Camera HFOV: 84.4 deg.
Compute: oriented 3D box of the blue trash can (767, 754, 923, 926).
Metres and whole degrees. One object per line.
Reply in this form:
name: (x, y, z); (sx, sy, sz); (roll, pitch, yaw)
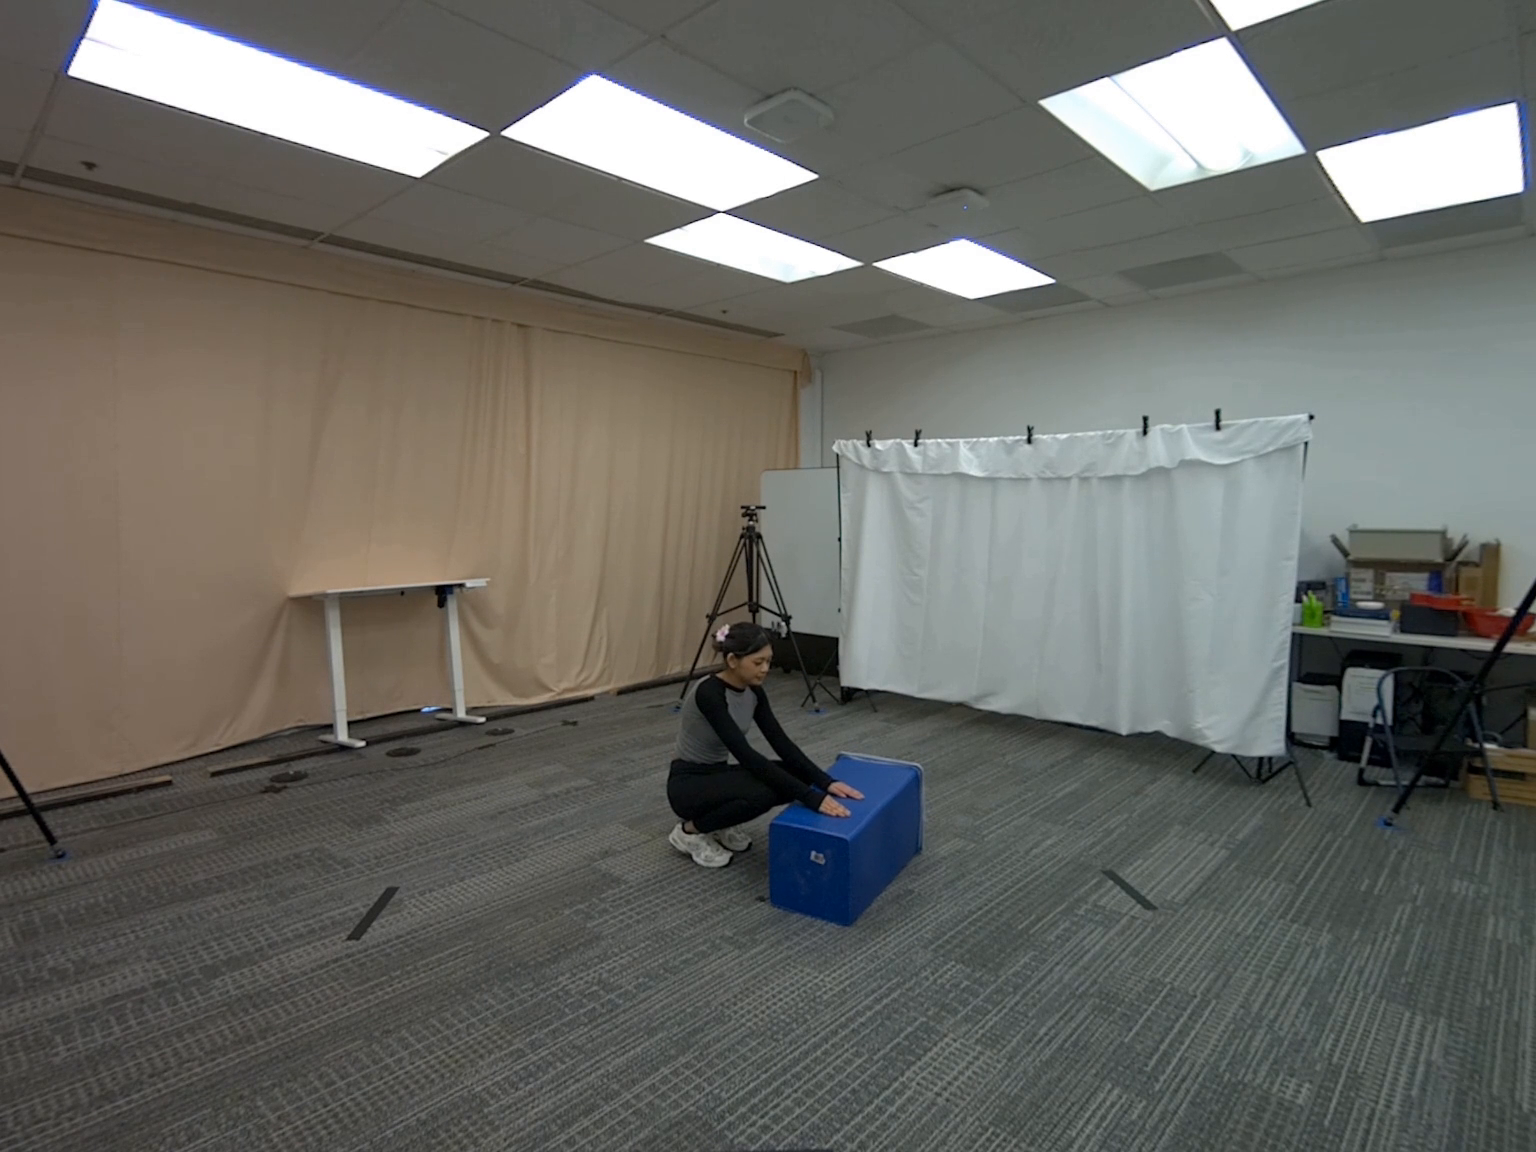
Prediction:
blue trash can: (0.299, 0.963, 3.143); (0.385, 0.376, 0.697); (3, 8, 28)
